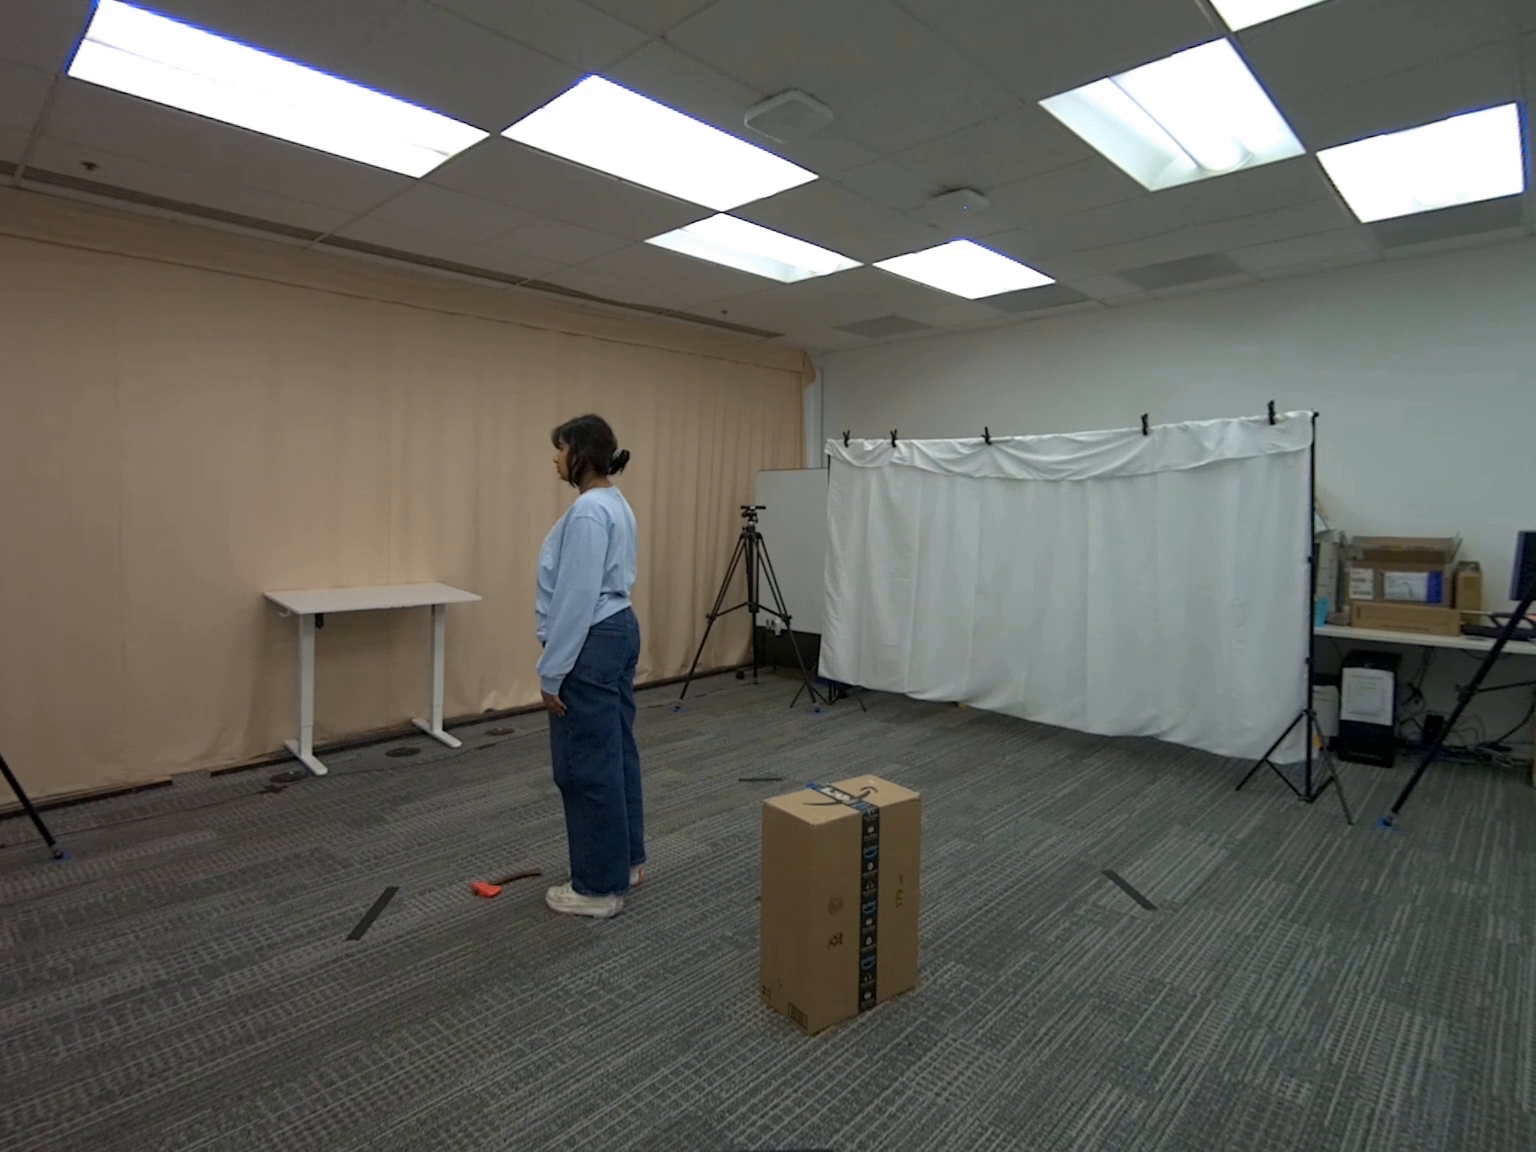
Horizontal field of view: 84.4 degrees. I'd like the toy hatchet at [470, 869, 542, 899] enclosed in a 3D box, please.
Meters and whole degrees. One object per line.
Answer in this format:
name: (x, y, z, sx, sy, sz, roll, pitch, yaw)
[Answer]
toy hatchet: (-0.956, 1.138, 3.098, 0.262, 0.029, 0.135, -1, 3, -32)
